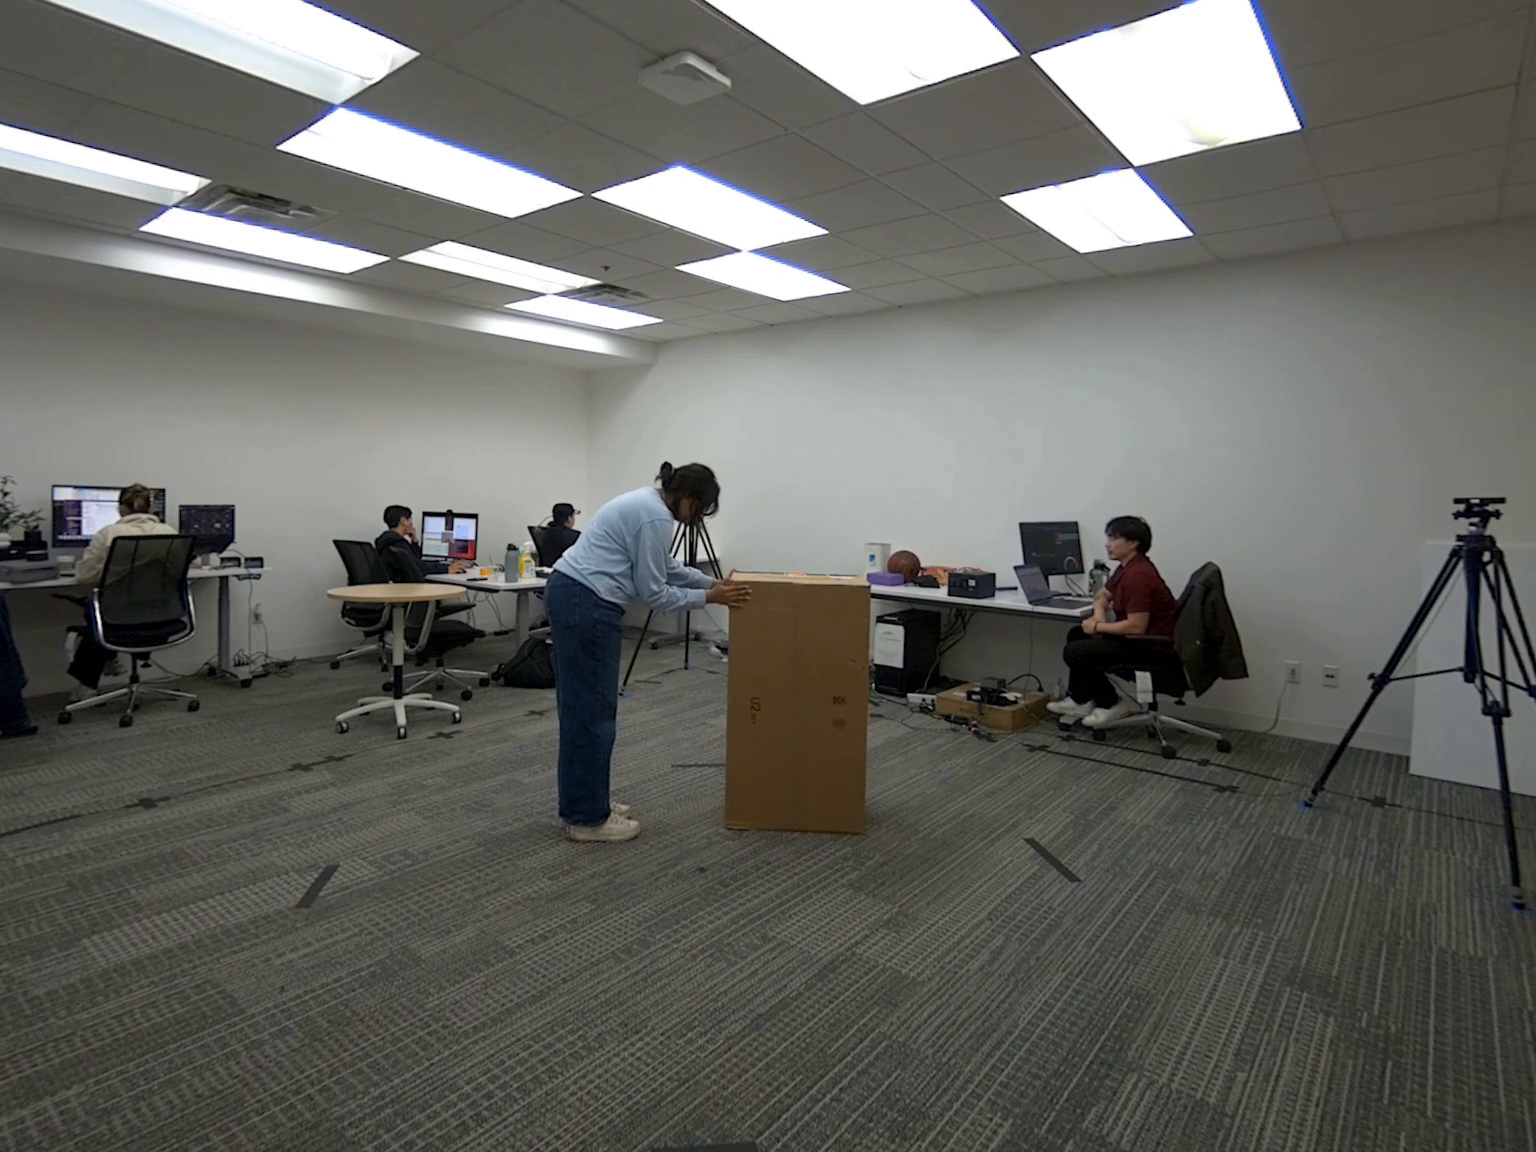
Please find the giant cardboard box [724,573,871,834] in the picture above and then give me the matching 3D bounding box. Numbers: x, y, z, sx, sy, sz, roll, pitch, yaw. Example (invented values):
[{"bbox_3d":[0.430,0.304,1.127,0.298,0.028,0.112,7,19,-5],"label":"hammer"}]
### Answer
[{"bbox_3d":[0.112,0.518,3.664,0.580,1.023,0.426,1,3,2],"label":"giant cardboard box"}]
